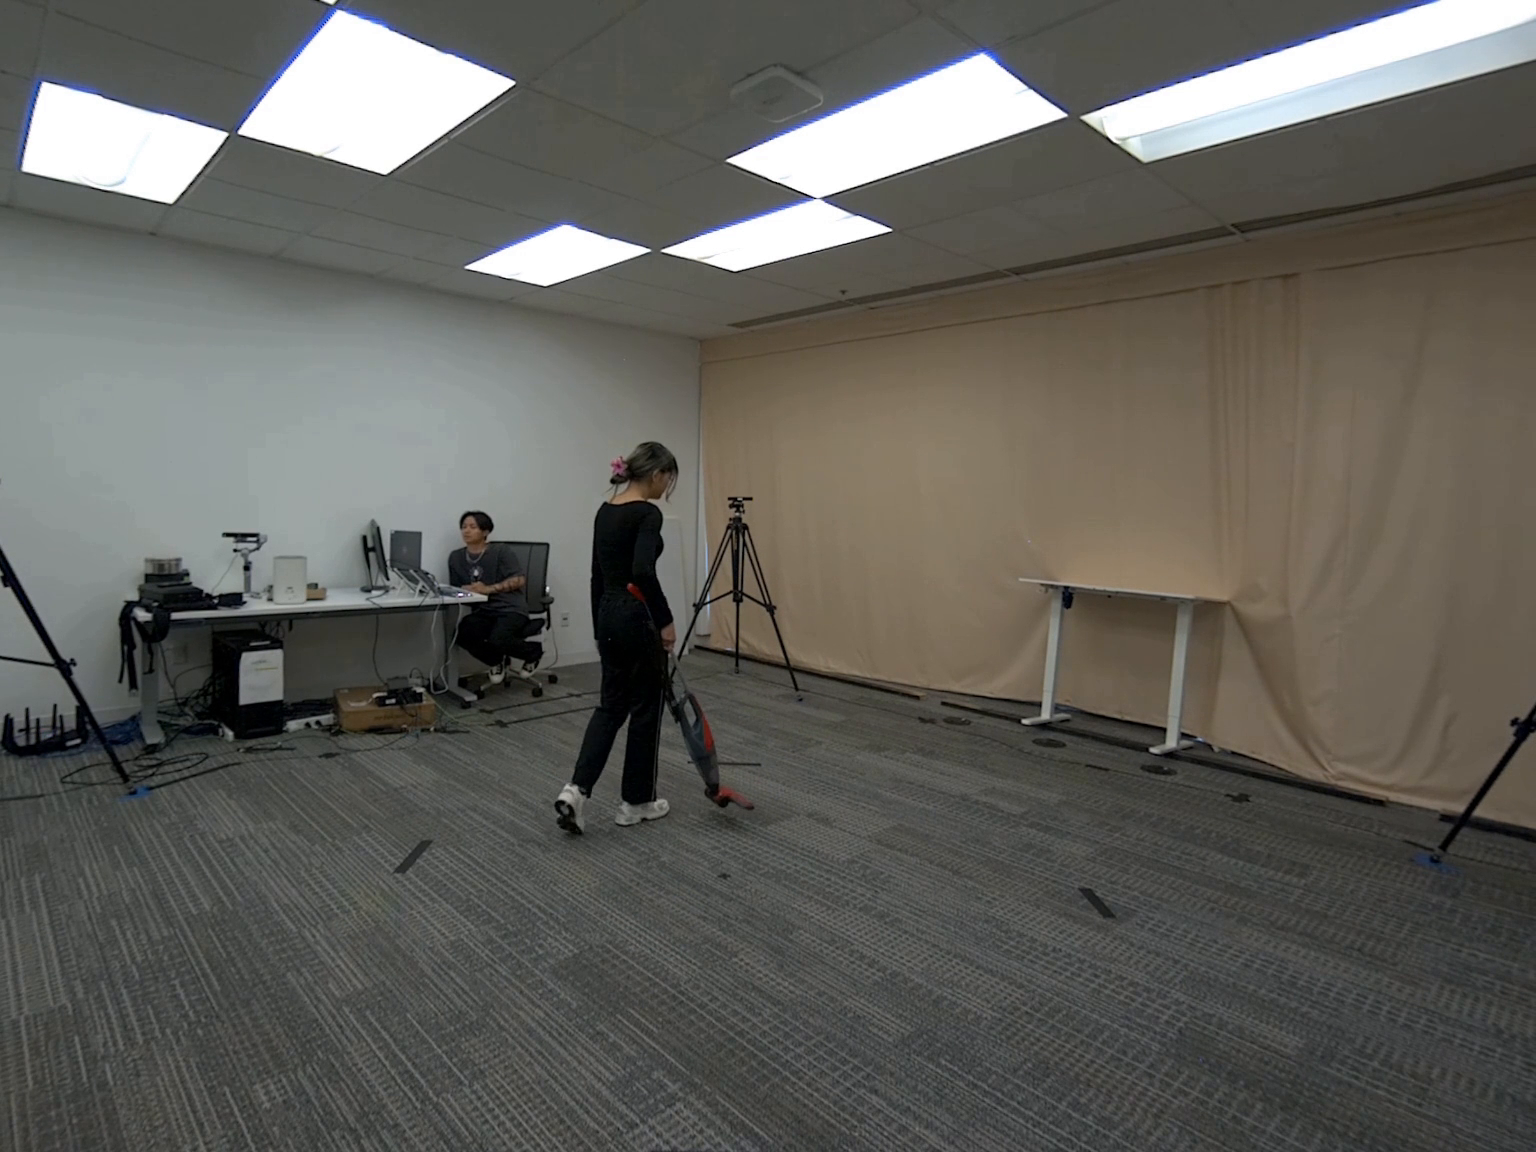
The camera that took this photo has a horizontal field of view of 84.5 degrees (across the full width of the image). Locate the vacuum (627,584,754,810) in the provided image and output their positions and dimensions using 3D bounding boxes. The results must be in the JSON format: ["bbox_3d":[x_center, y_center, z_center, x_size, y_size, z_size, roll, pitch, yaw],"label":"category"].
[{"bbox_3d":[-0.353,0.514,3.465,0.143,1.031,0.259,-29,21,-26],"label":"vacuum"}]
